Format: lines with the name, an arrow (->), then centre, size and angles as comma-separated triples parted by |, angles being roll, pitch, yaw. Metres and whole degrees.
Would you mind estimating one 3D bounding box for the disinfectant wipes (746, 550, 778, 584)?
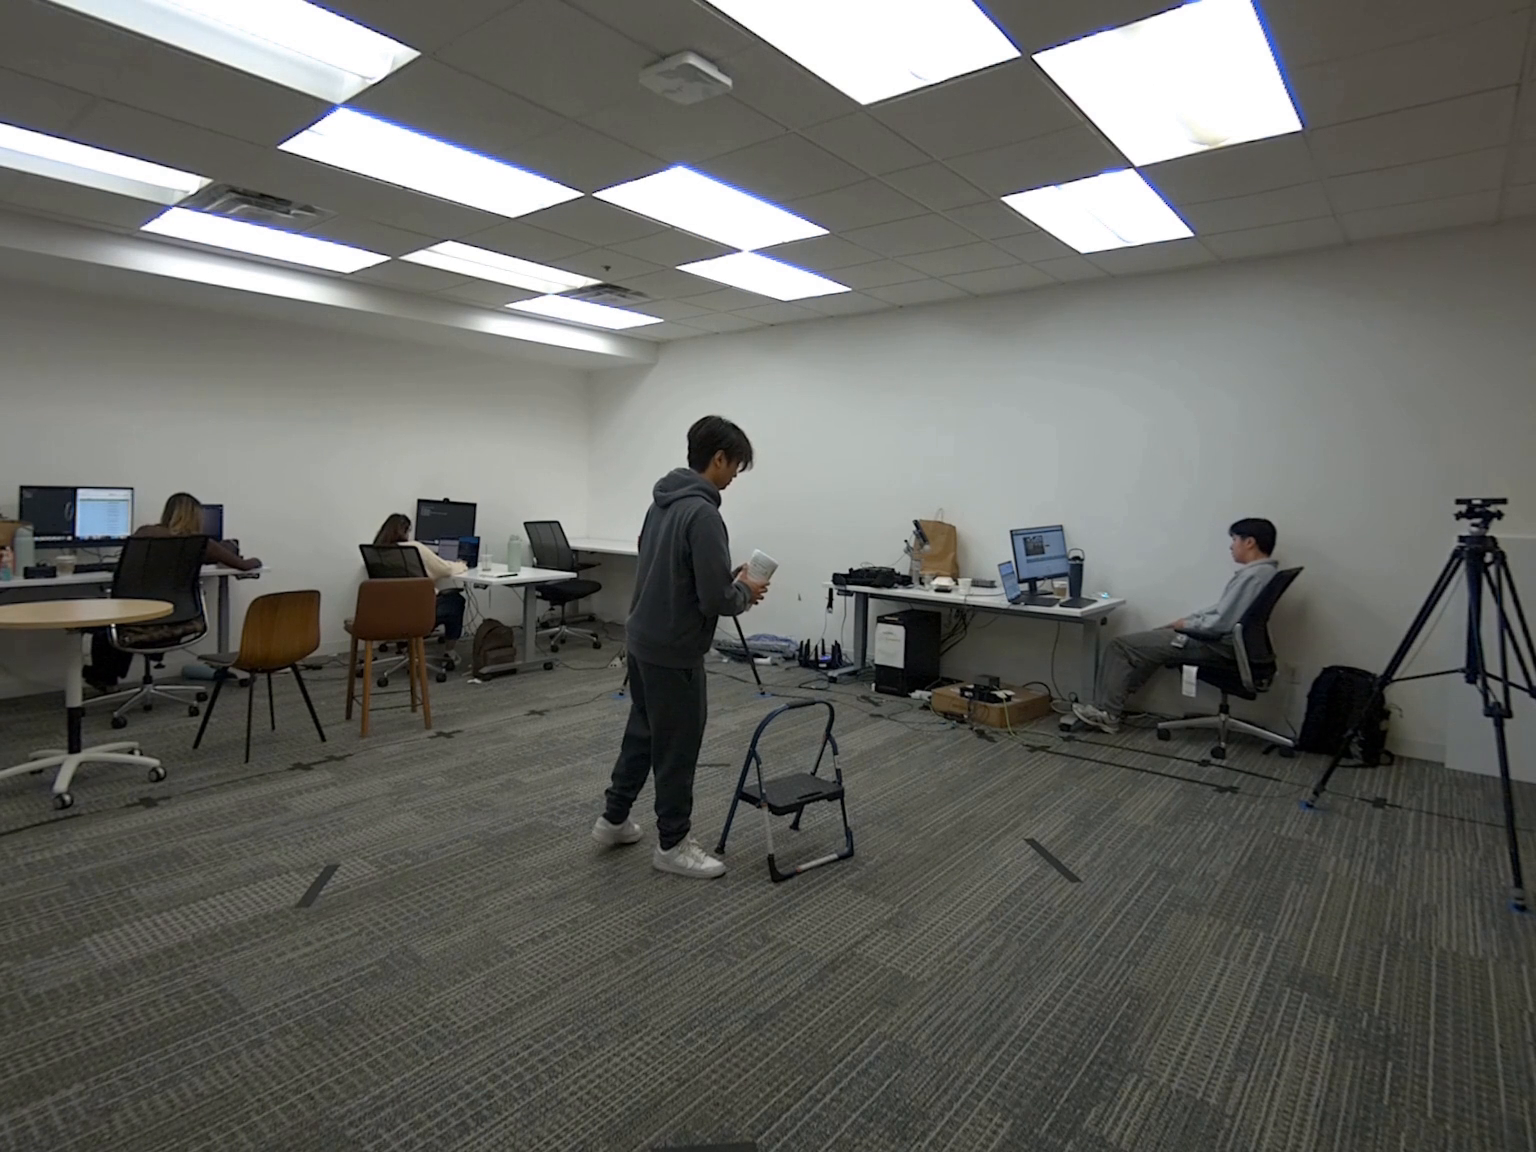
disinfectant wipes -> -0.071, 0.012, 3.163 | 0.118, 0.217, 0.117 | 35, -4, 0
